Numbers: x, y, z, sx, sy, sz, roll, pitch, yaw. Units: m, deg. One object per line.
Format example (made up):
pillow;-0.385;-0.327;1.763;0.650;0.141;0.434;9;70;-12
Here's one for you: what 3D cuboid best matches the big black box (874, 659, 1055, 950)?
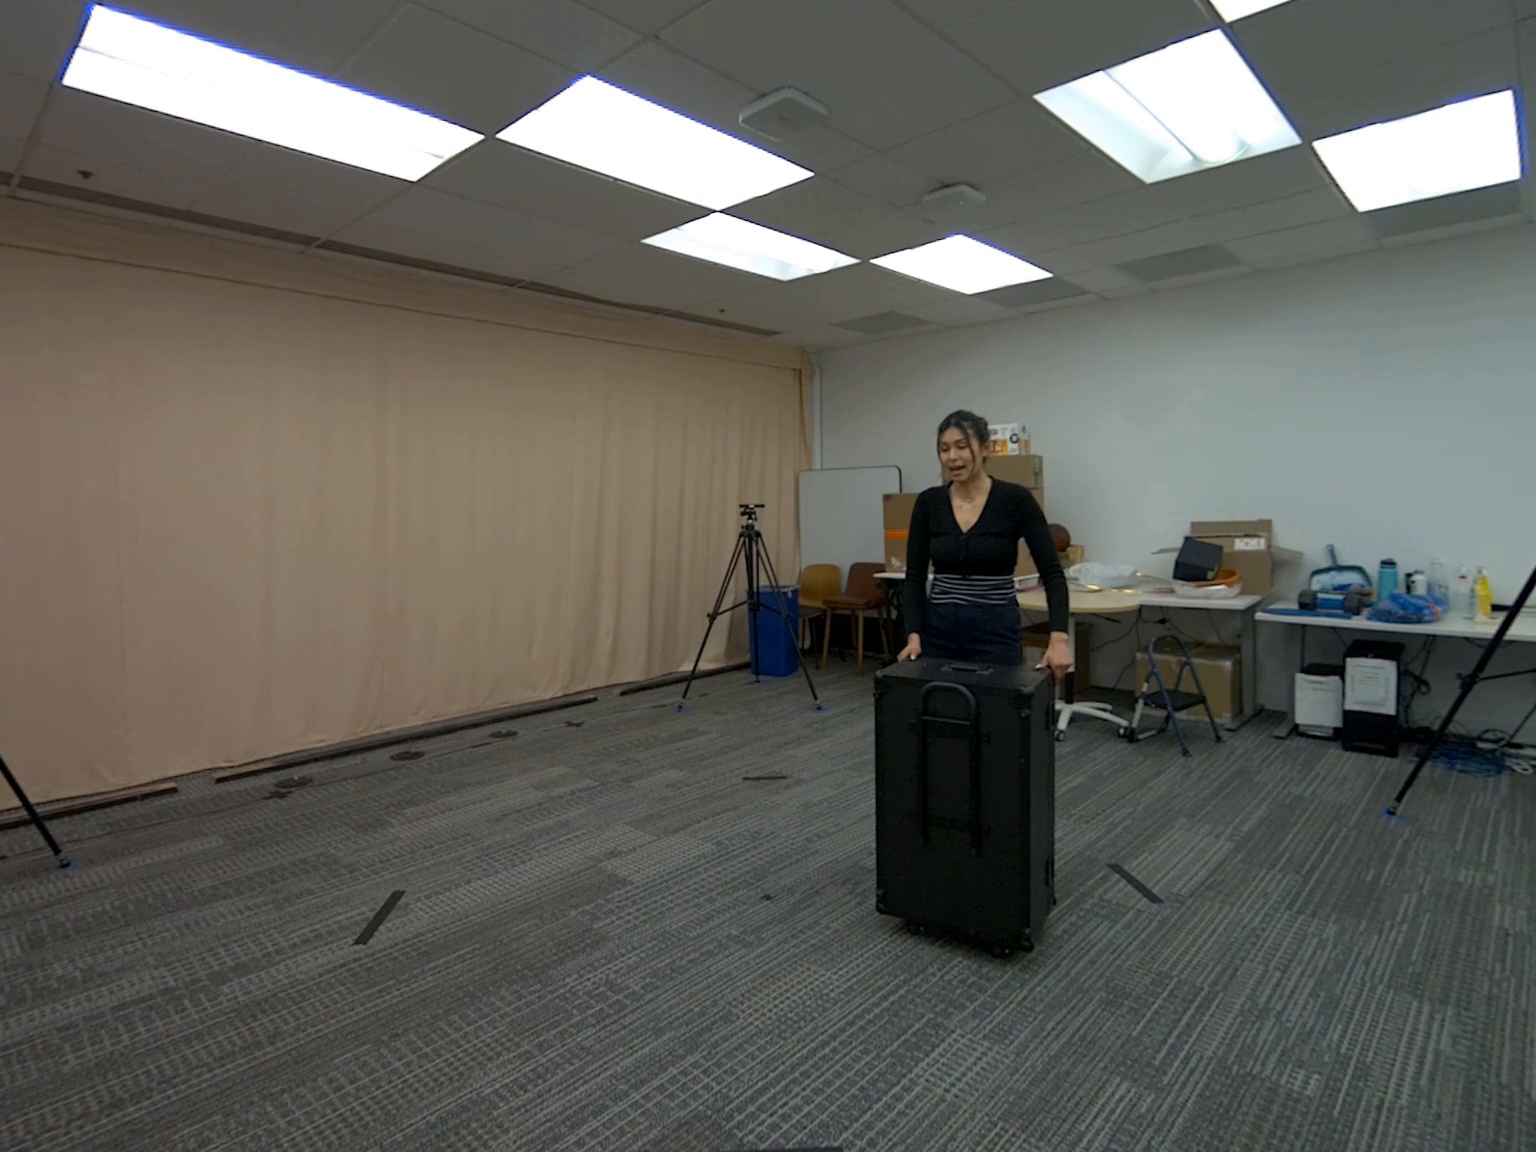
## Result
big black box;0.639;0.725;2.701;0.537;0.859;0.386;2;5;31
